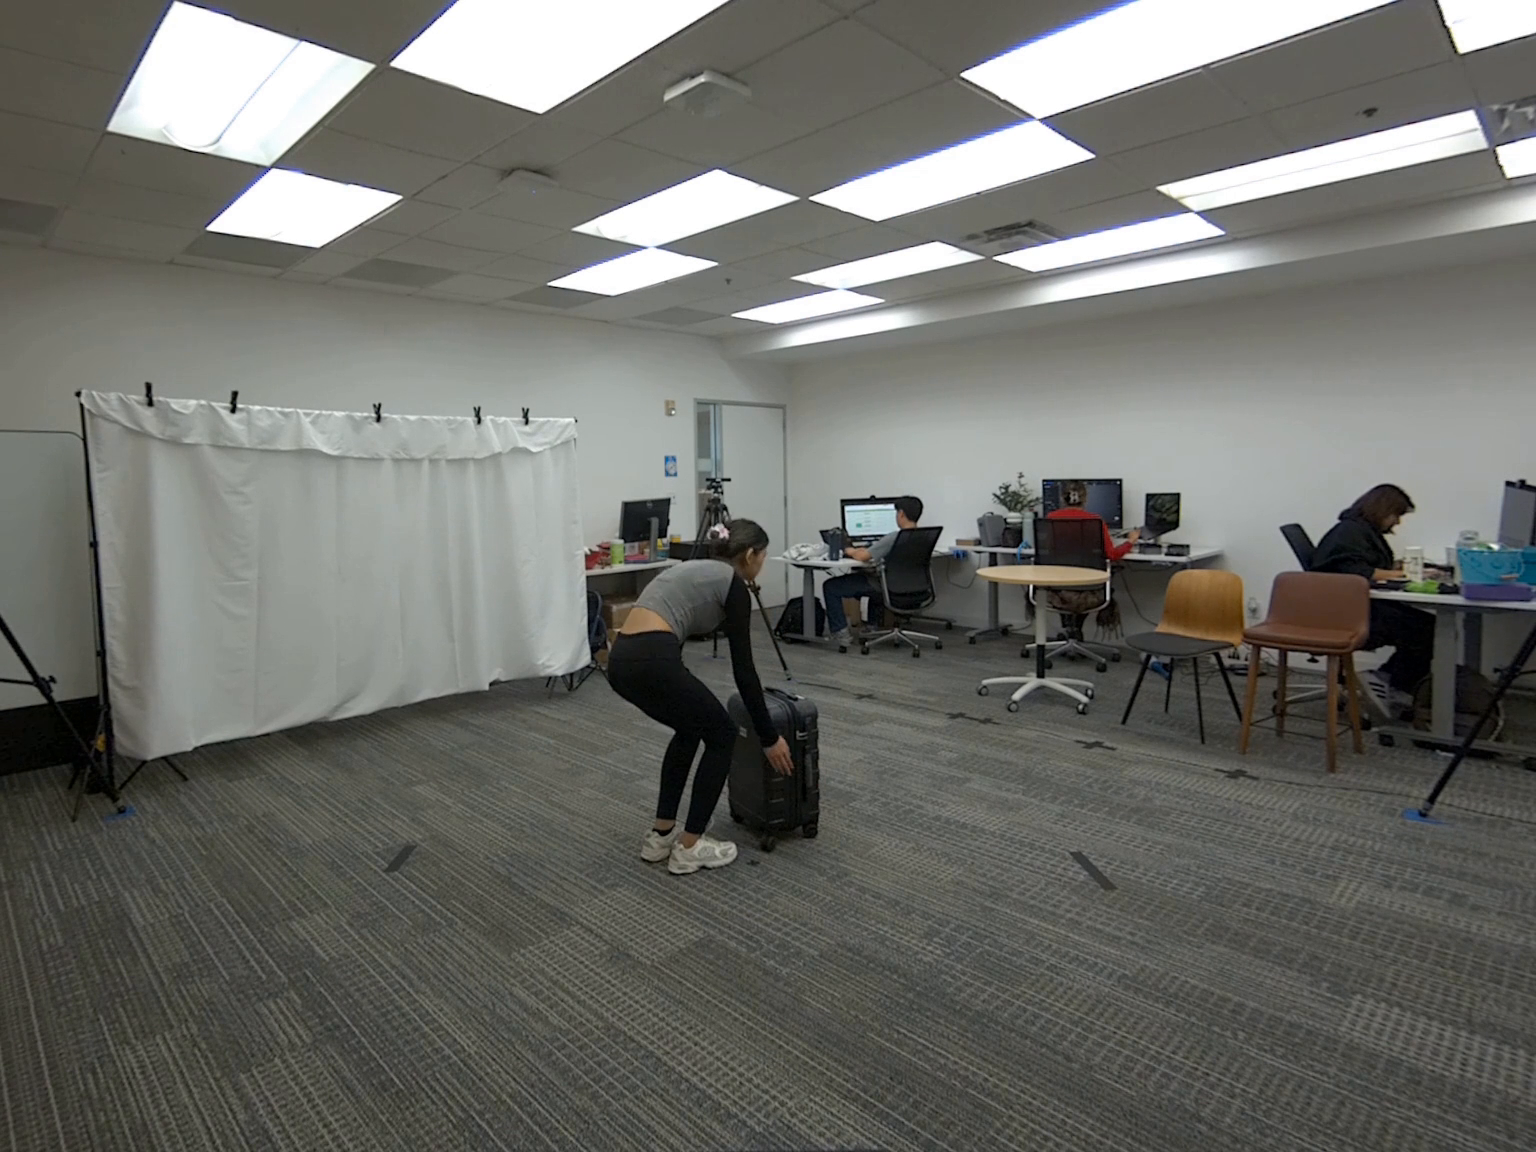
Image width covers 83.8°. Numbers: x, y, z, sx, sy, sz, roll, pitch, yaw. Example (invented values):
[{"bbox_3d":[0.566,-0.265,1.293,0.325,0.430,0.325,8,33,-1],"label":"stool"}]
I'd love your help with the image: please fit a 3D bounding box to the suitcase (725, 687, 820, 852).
[{"bbox_3d":[0.019,0.729,3.390,0.242,0.547,0.386,-3,6,-31],"label":"suitcase"}]
